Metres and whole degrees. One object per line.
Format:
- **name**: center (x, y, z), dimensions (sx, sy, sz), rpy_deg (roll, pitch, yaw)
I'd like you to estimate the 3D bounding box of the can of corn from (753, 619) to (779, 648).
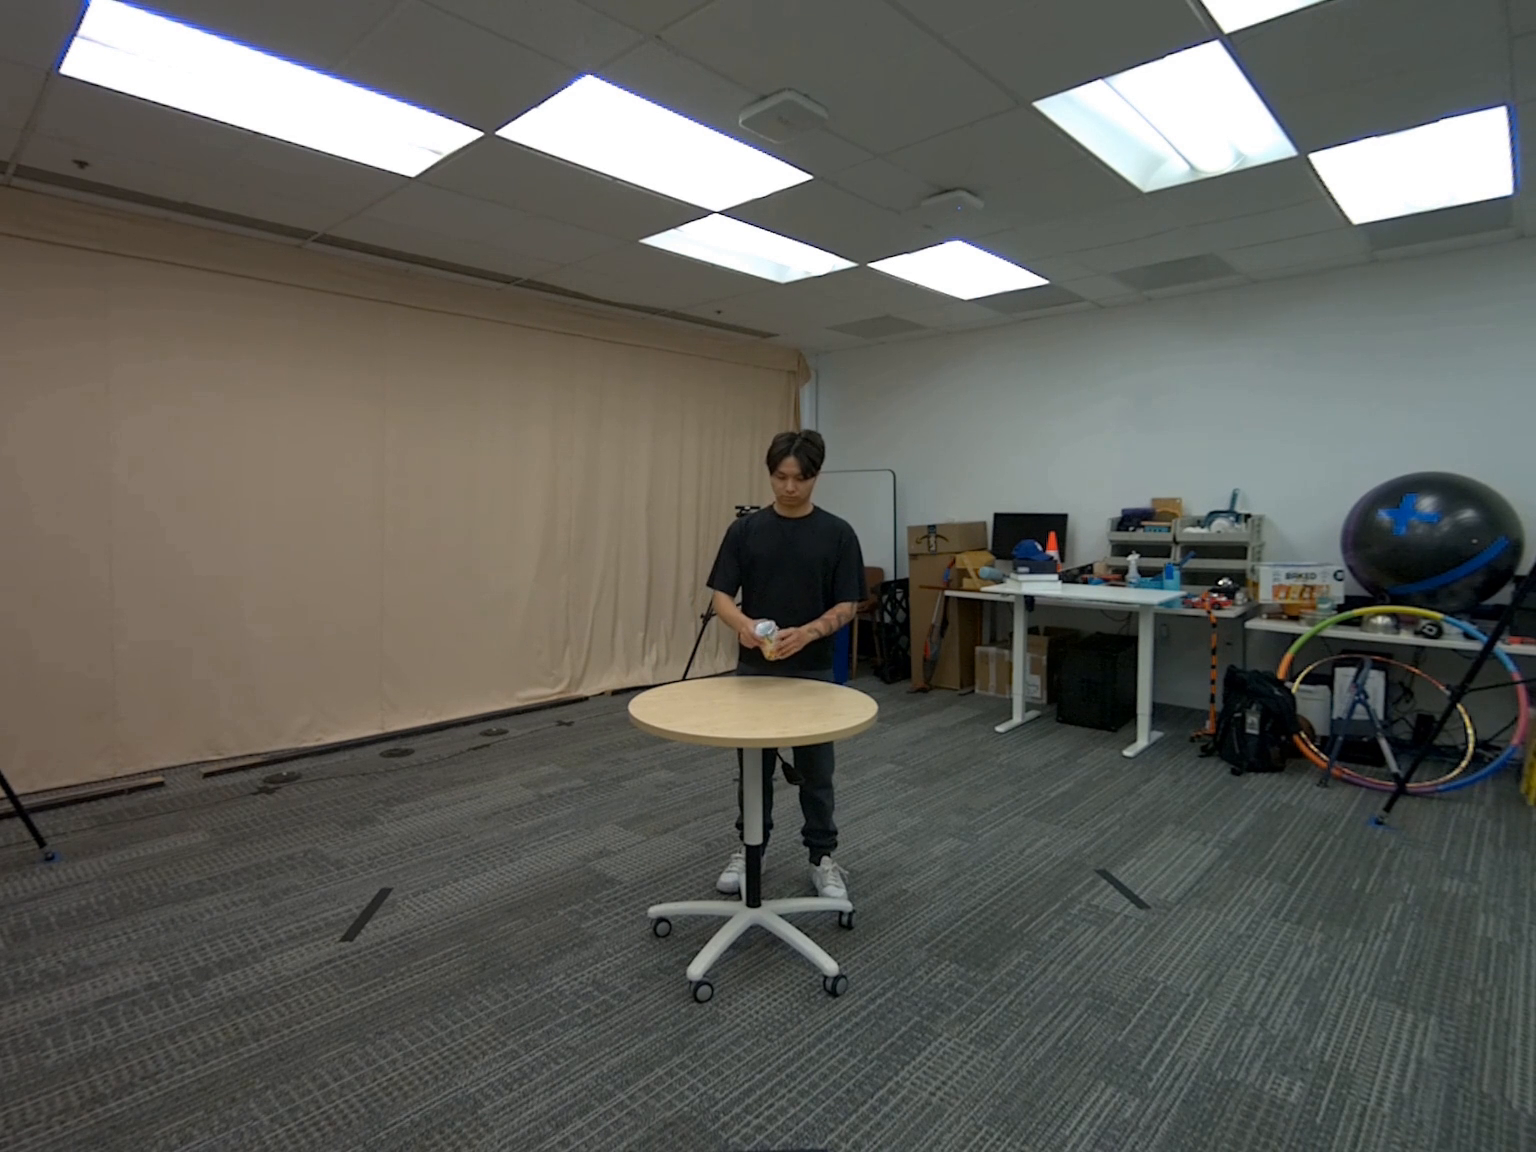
- **can of corn**: center (0.008, 0.200, 2.764), dimensions (0.115, 0.074, 0.072), rpy_deg (8, 8, 39)
